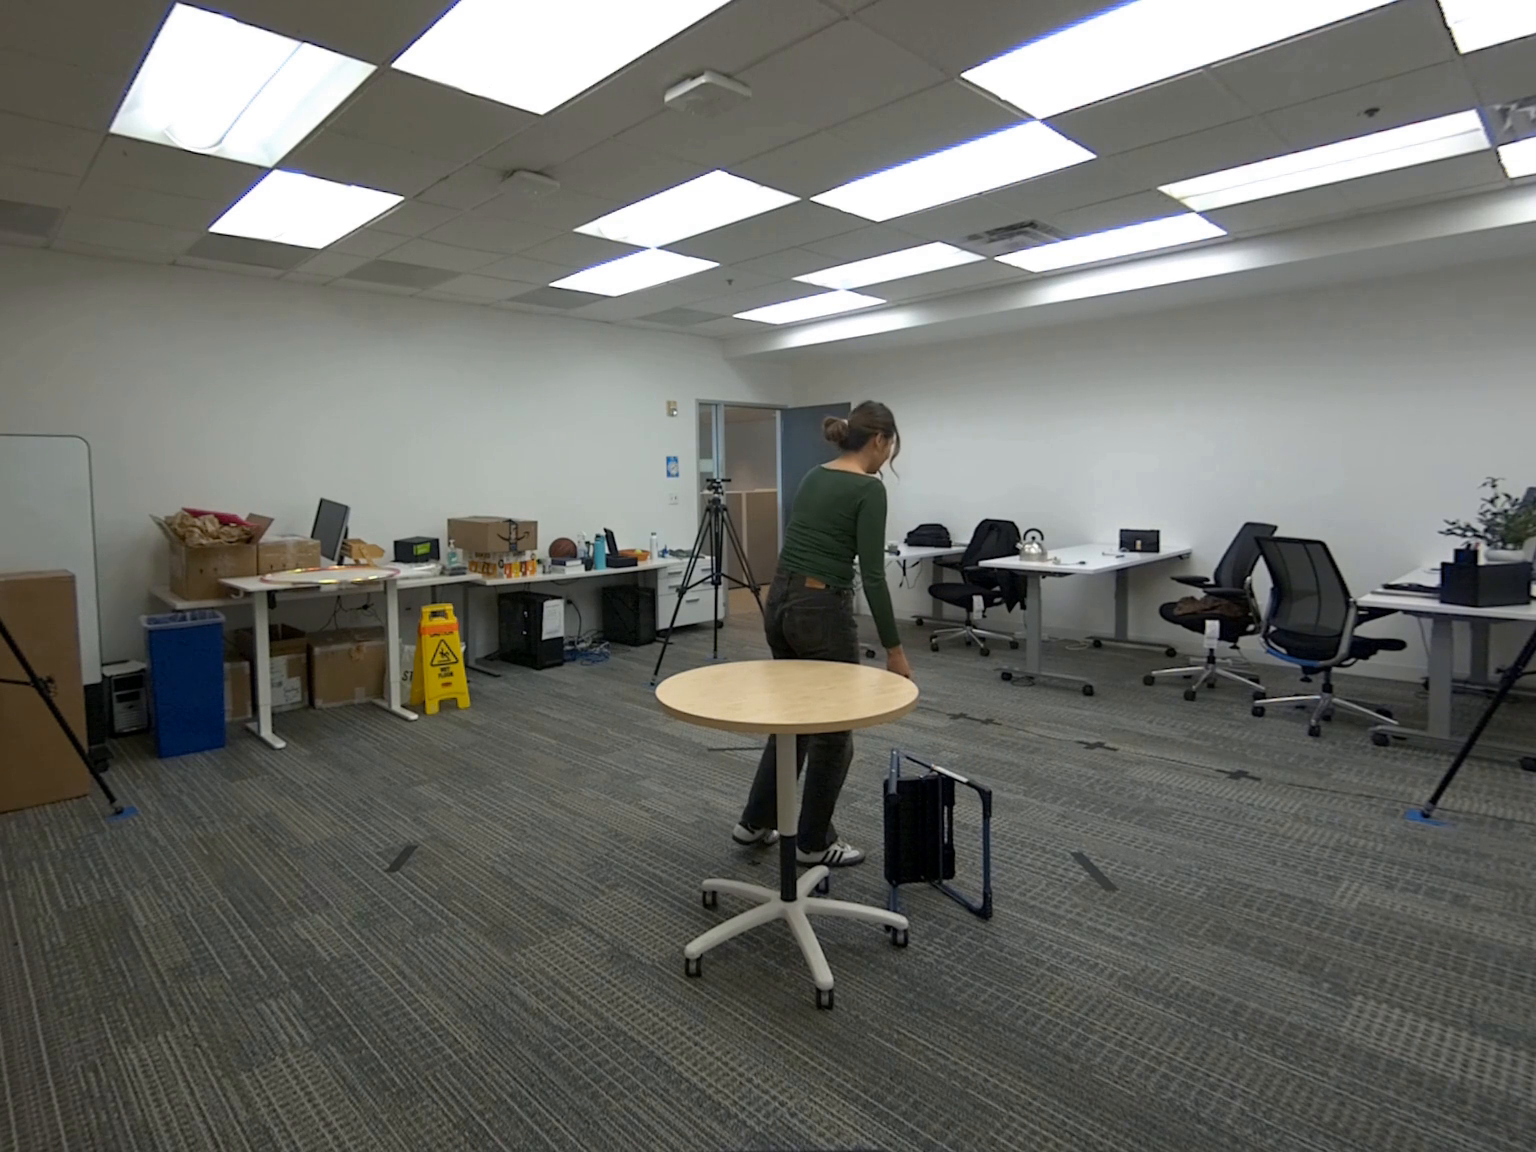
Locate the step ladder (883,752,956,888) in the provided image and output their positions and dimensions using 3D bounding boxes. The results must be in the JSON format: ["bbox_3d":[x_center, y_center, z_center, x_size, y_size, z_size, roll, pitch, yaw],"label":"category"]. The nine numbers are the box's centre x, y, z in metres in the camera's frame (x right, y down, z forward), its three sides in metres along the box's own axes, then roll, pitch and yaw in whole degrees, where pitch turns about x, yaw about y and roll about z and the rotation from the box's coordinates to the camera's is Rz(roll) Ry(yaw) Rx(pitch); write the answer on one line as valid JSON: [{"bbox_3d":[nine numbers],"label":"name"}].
[{"bbox_3d":[0.473,0.838,2.932,0.346,0.429,0.614,0,4,-11],"label":"step ladder"}]
